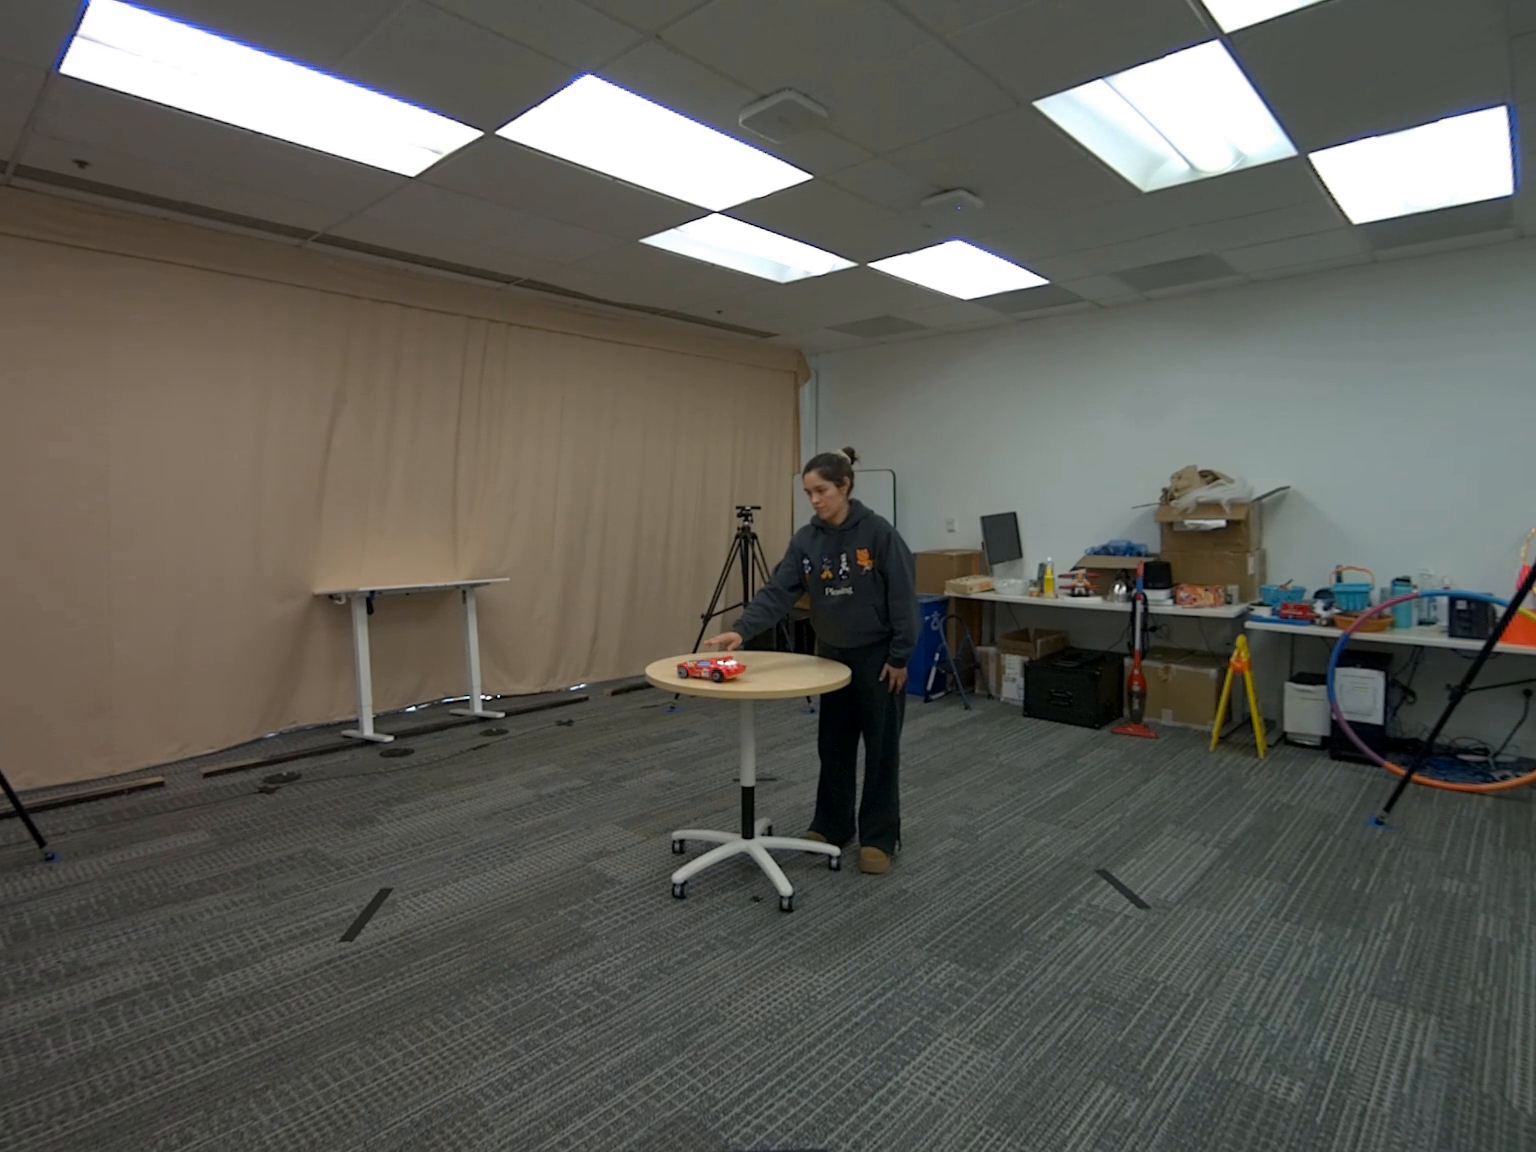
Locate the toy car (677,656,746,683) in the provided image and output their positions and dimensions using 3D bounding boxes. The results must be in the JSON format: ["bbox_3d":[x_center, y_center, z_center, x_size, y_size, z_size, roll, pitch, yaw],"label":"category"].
[{"bbox_3d":[-0.175,0.333,2.958,0.261,0.083,0.127,-11,-2,31],"label":"toy car"}]
